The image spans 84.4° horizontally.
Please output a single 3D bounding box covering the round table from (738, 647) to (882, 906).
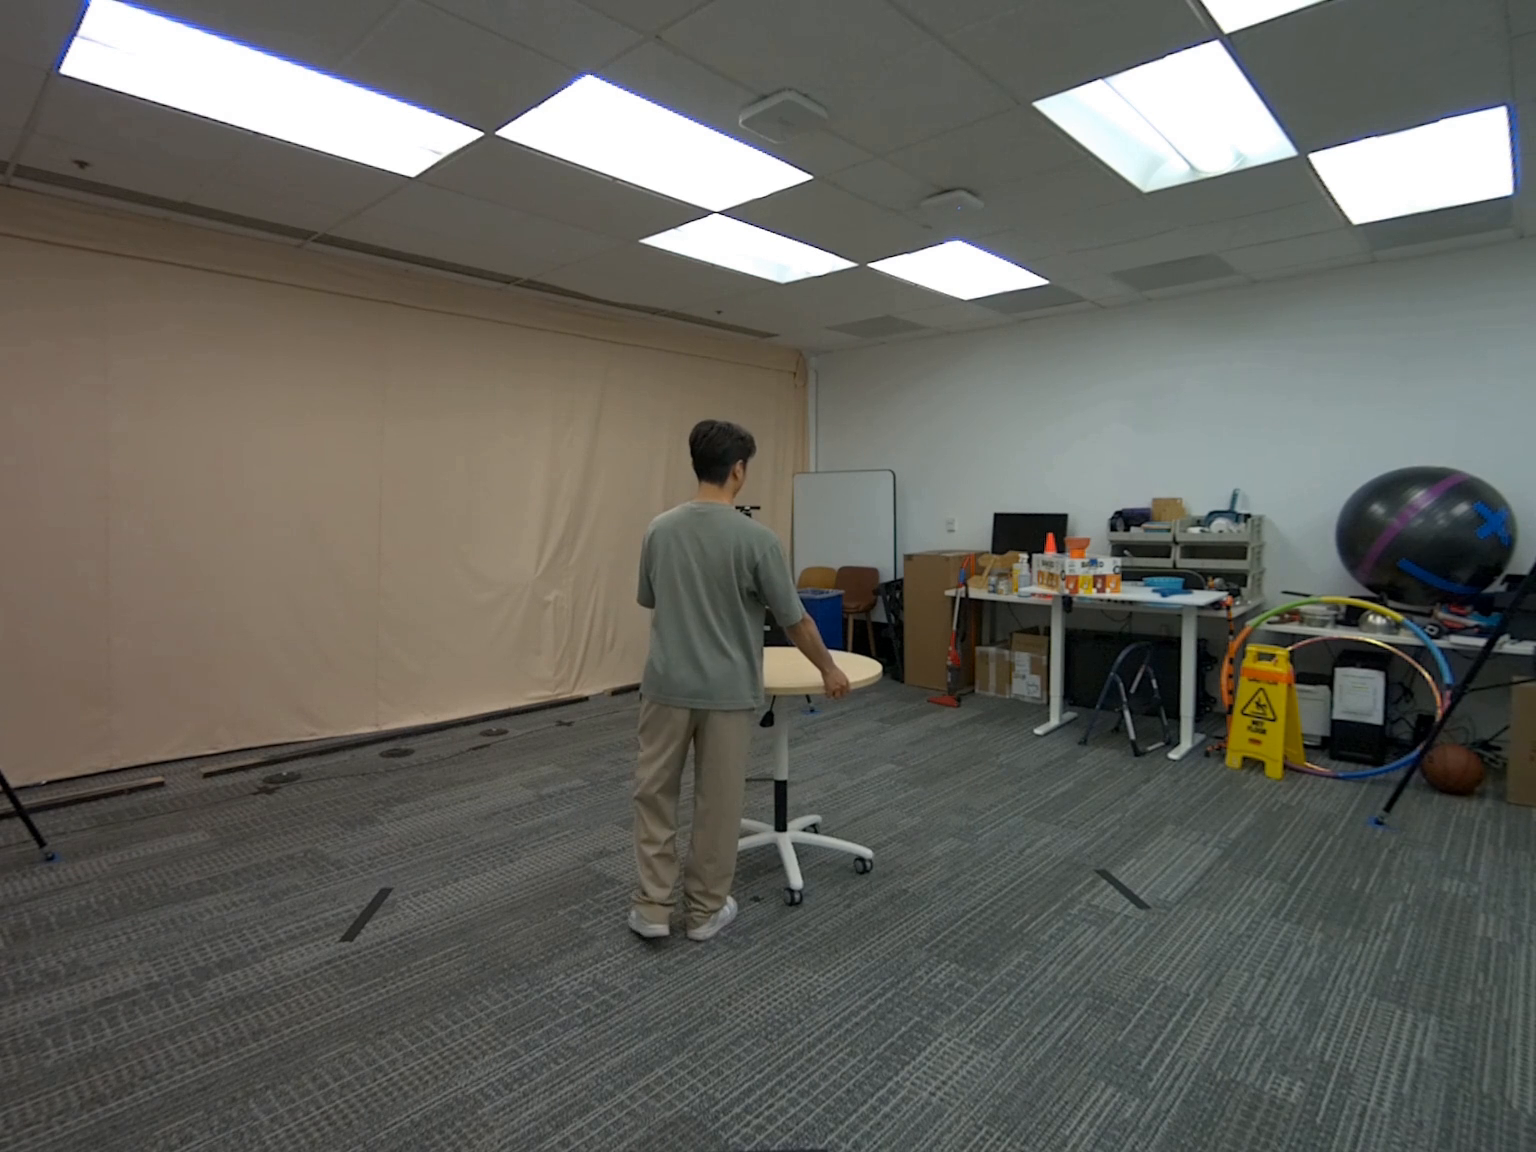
[{"bbox_3d":[0.061,0.726,3.245,0.784,0.784,0.788,0,4,-2],"label":"round table"}]
